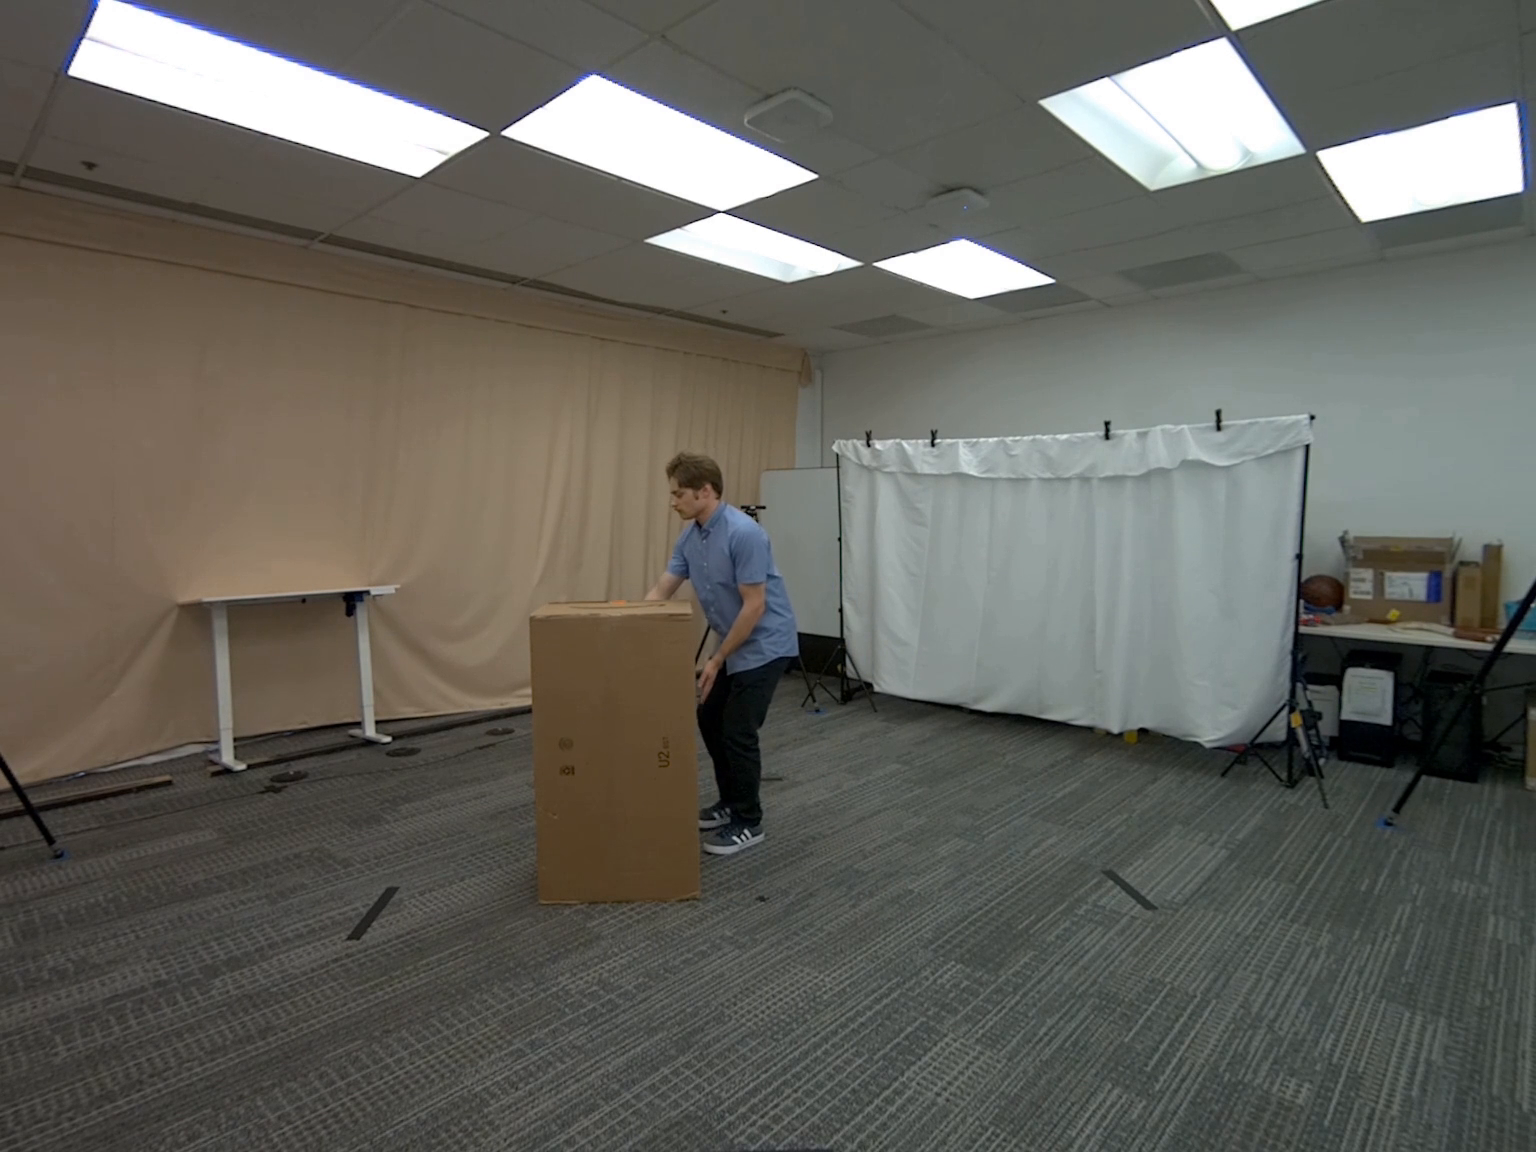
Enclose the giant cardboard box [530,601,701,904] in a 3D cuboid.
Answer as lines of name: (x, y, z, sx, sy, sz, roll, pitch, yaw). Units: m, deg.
giant cardboard box: (-0.562, 0.627, 3.151, 0.576, 1.024, 0.428, -1, 3, -3)
